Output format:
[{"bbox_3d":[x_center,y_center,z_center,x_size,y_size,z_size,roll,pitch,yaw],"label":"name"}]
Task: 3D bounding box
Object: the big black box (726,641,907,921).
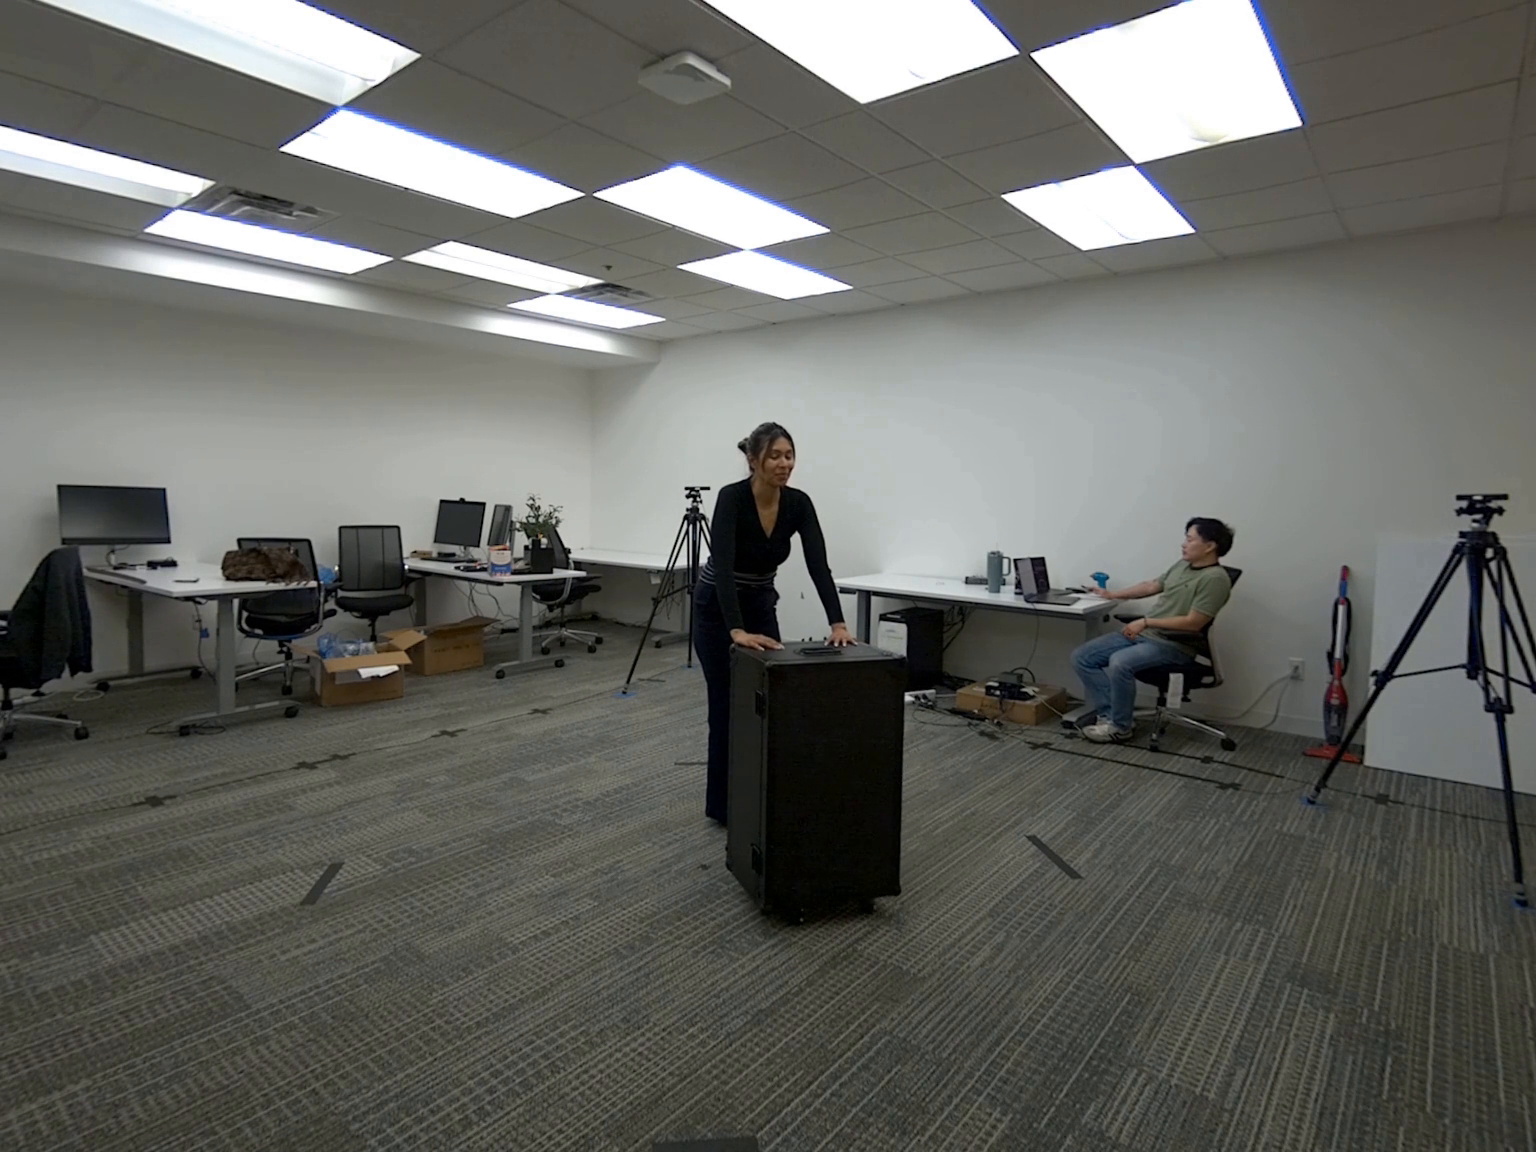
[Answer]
[{"bbox_3d":[0.137,0.668,2.865,0.511,0.859,0.405,-1,3,-21],"label":"big black box"}]
